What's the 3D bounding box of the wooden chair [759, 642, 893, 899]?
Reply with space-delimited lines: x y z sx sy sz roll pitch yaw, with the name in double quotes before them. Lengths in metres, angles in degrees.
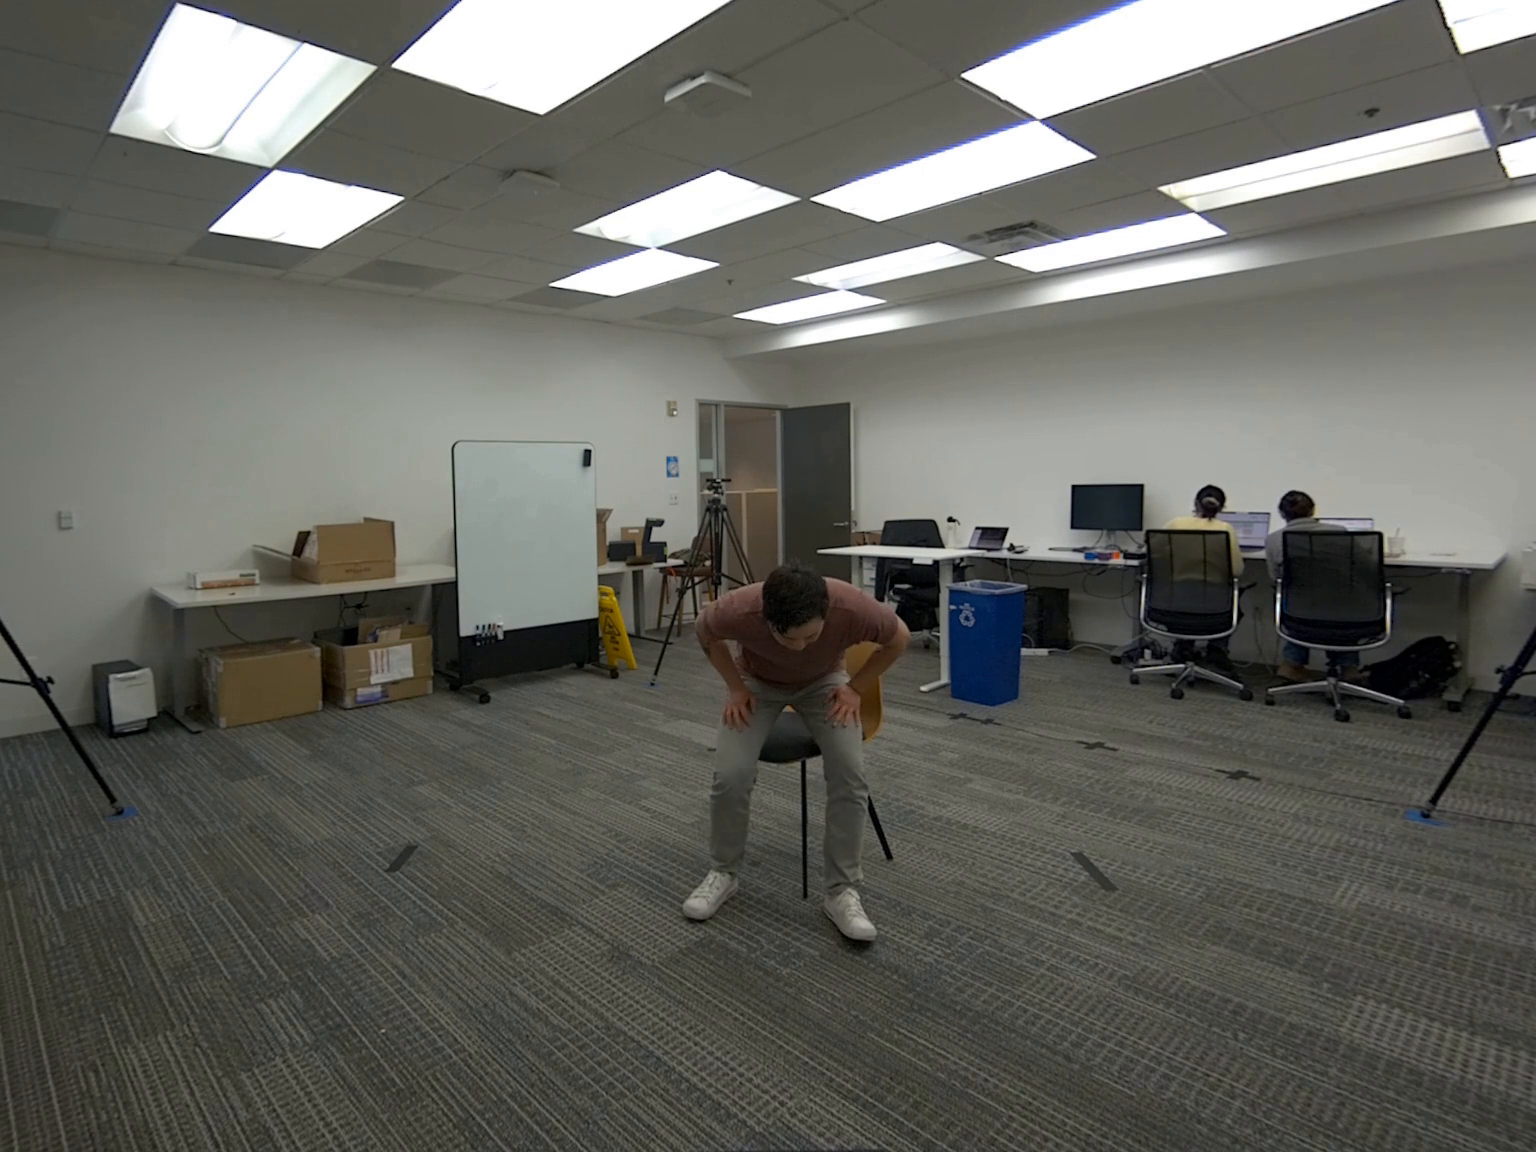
"wooden chair" 0.130 0.612 3.114 0.508 0.877 0.492 1 2 -40
